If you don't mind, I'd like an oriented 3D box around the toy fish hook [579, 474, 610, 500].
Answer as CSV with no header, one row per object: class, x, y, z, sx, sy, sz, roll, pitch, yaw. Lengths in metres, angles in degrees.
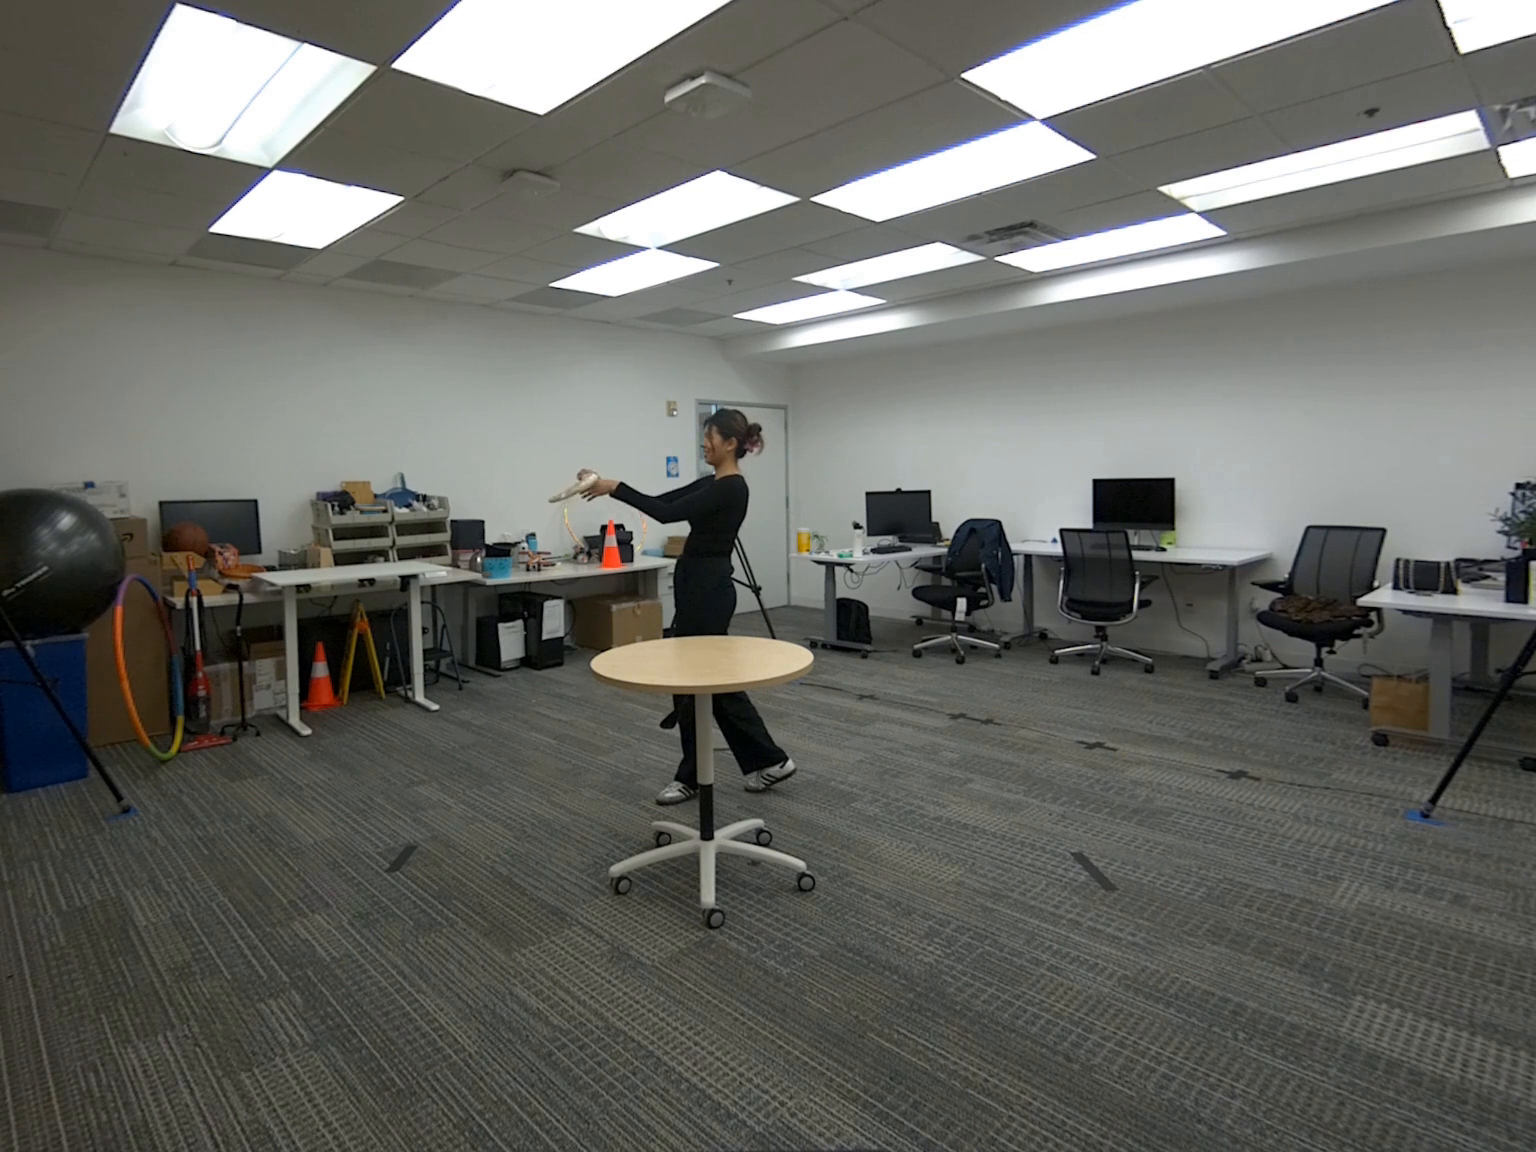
toy fish hook,-0.818,-0.385,3.602,0.224,0.047,0.515,-26,15,-3
